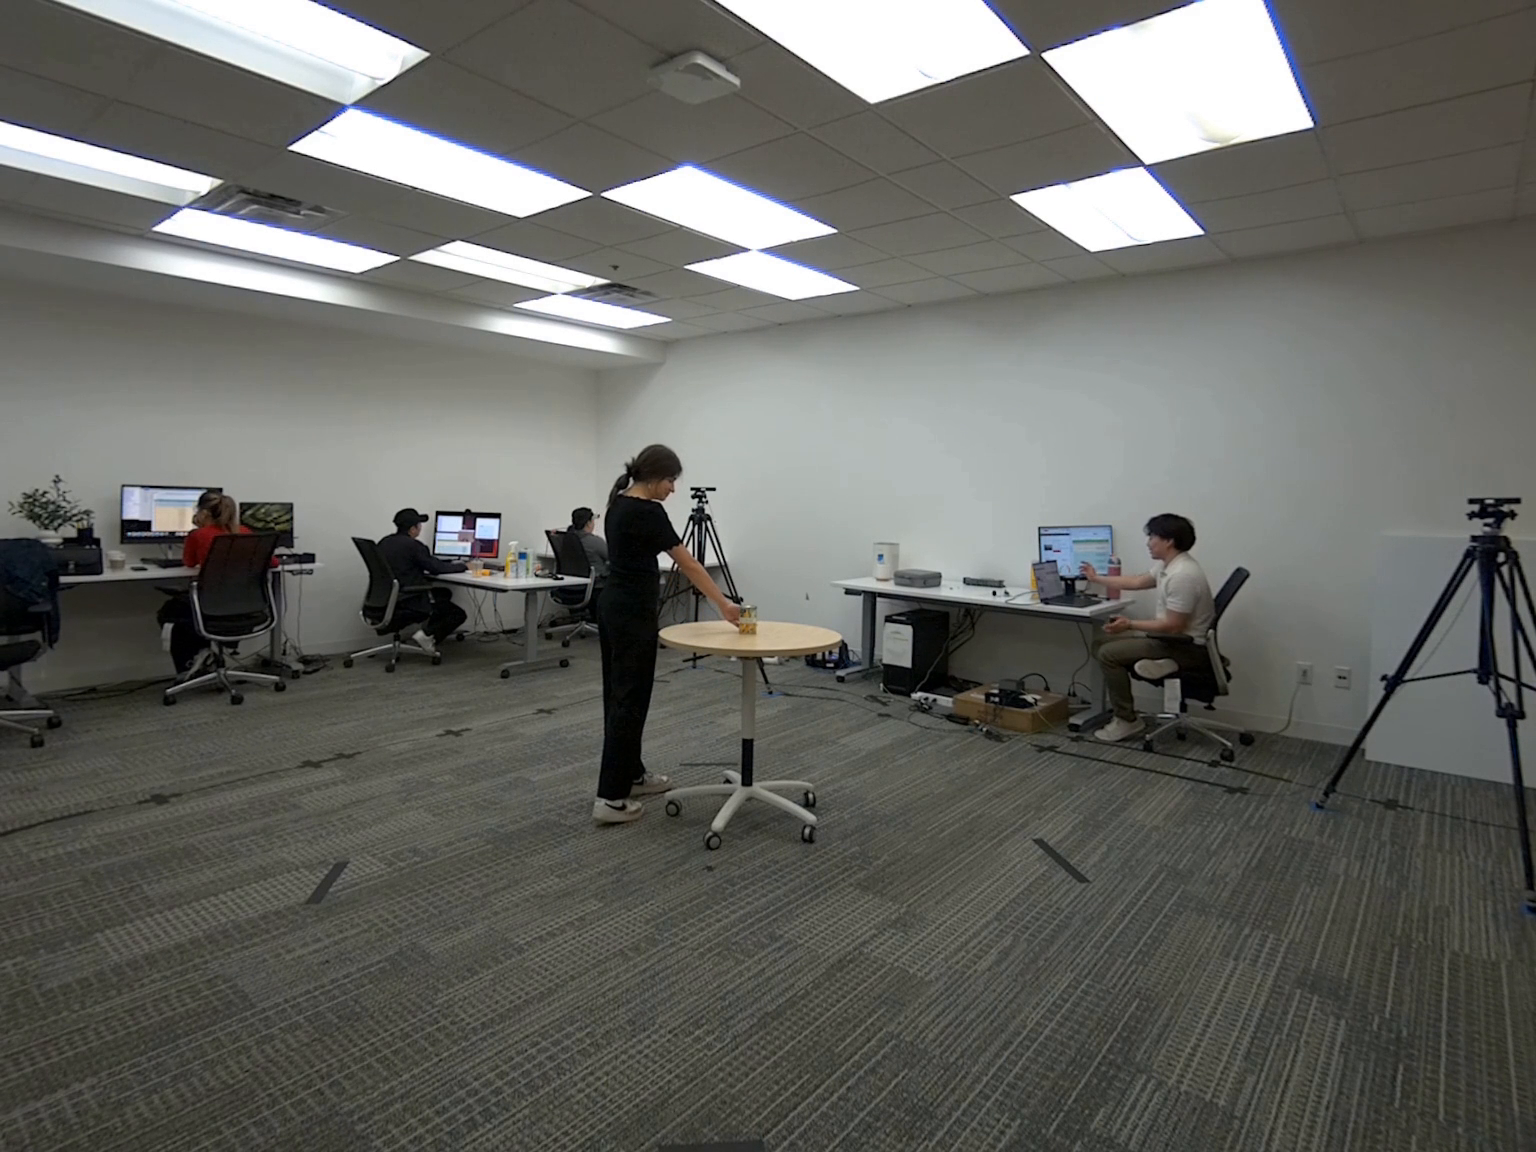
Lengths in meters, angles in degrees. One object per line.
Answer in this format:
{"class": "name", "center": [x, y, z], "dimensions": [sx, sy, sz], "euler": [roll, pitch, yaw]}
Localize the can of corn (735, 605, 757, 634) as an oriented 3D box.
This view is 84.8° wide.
{"class": "can of corn", "center": [-0.094, 0.181, 3.584], "dimensions": [0.074, 0.110, 0.074], "euler": [4, 4, -2]}
